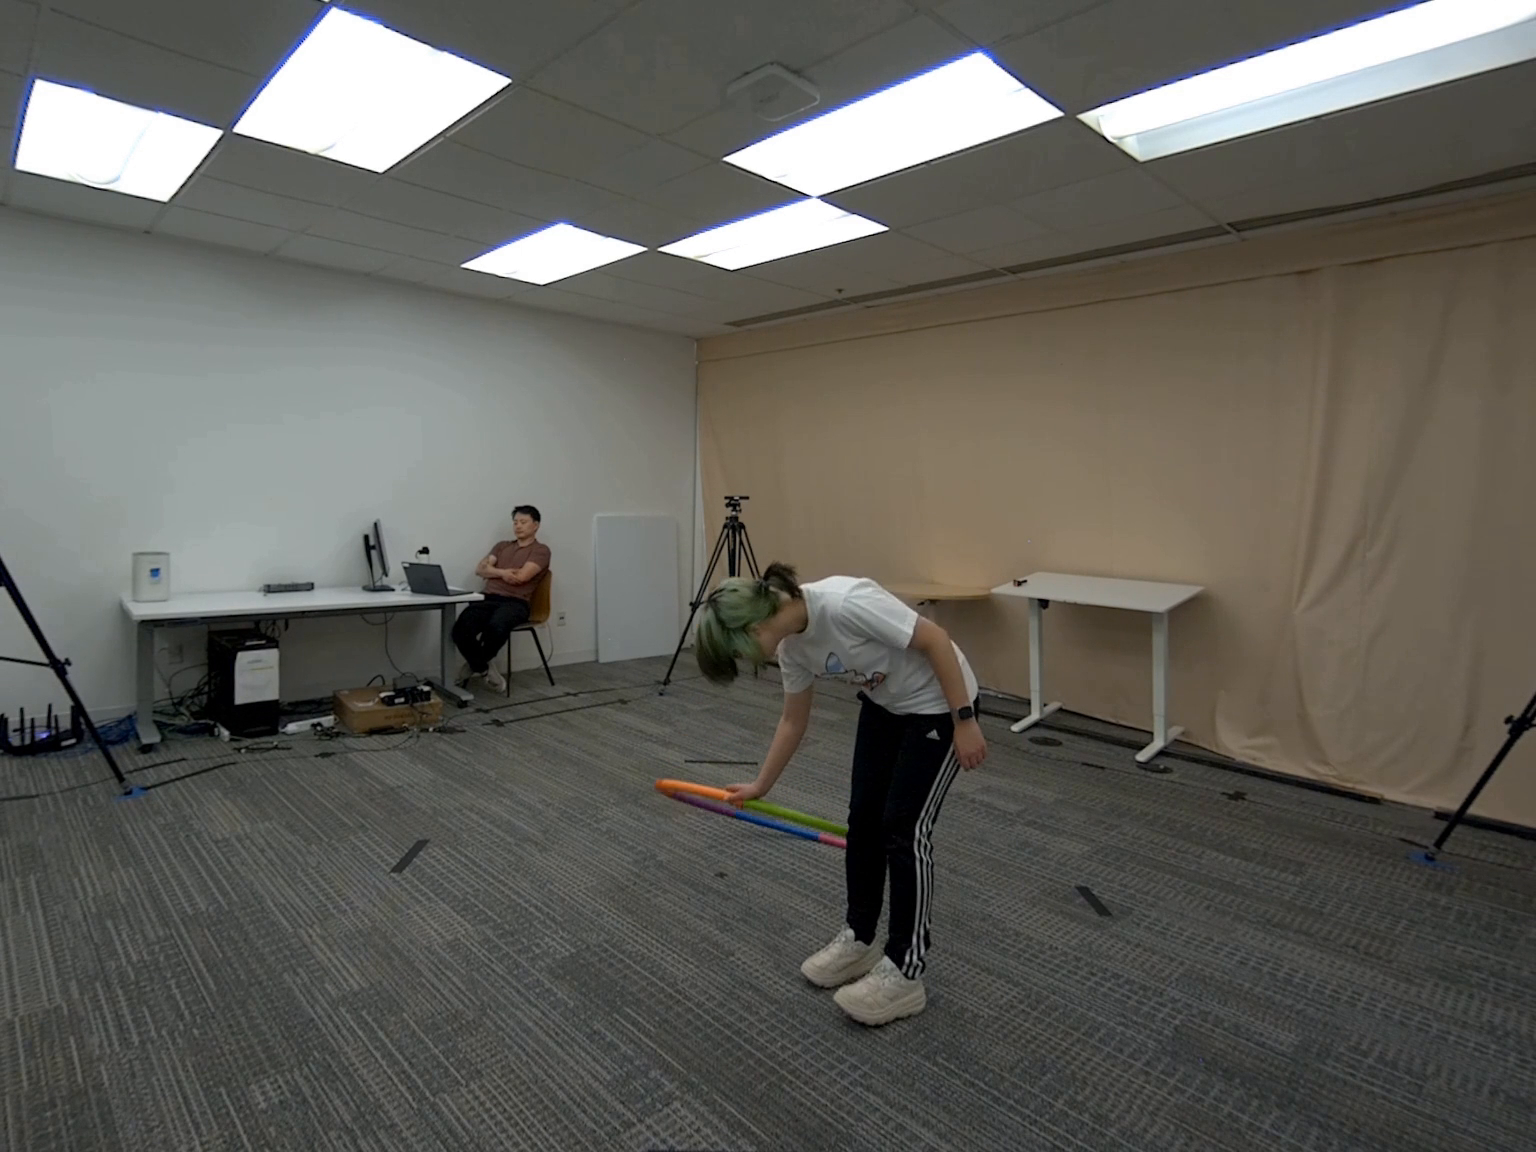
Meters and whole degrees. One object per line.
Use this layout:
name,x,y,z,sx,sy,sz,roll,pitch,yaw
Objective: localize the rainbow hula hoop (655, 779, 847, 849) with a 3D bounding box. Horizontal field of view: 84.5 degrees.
rainbow hula hoop,0.058,0.883,3.039,0.983,0.036,0.965,15,-18,4
